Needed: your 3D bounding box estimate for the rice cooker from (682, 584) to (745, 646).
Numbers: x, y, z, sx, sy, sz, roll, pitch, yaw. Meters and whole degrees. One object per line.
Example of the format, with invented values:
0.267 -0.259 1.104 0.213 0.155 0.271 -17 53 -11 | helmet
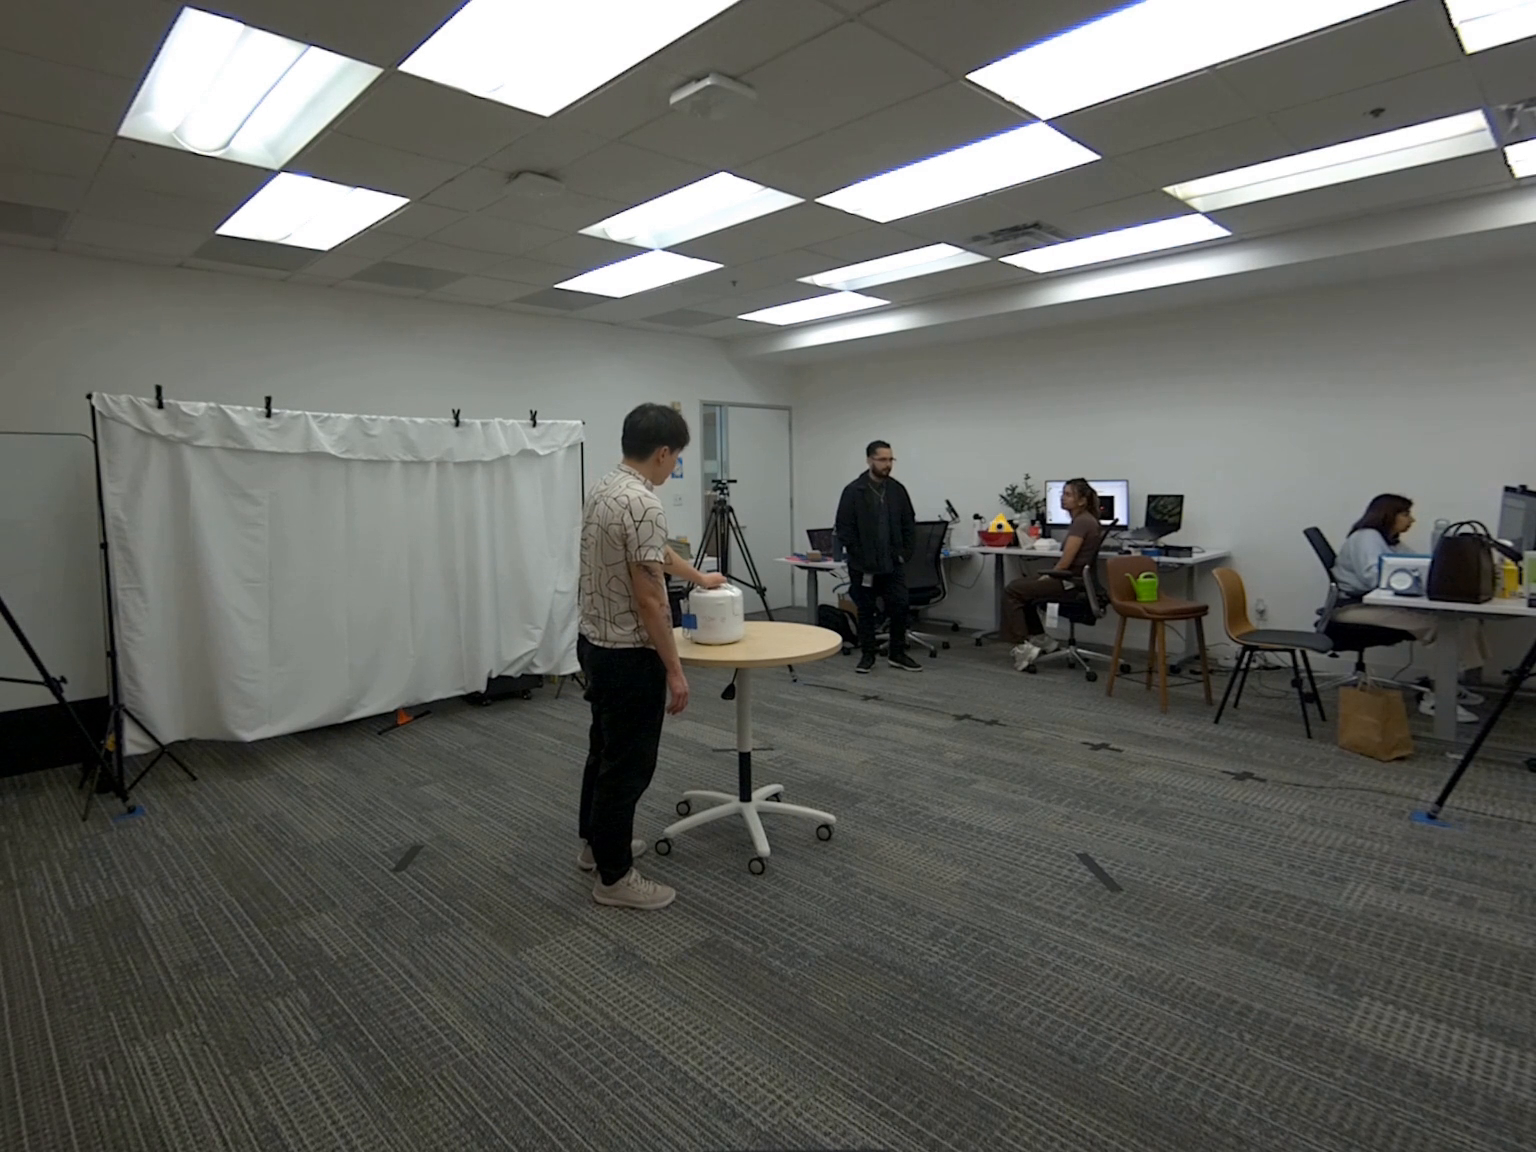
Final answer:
-0.197 0.134 3.274 0.227 0.231 0.212 3 8 40 | rice cooker
